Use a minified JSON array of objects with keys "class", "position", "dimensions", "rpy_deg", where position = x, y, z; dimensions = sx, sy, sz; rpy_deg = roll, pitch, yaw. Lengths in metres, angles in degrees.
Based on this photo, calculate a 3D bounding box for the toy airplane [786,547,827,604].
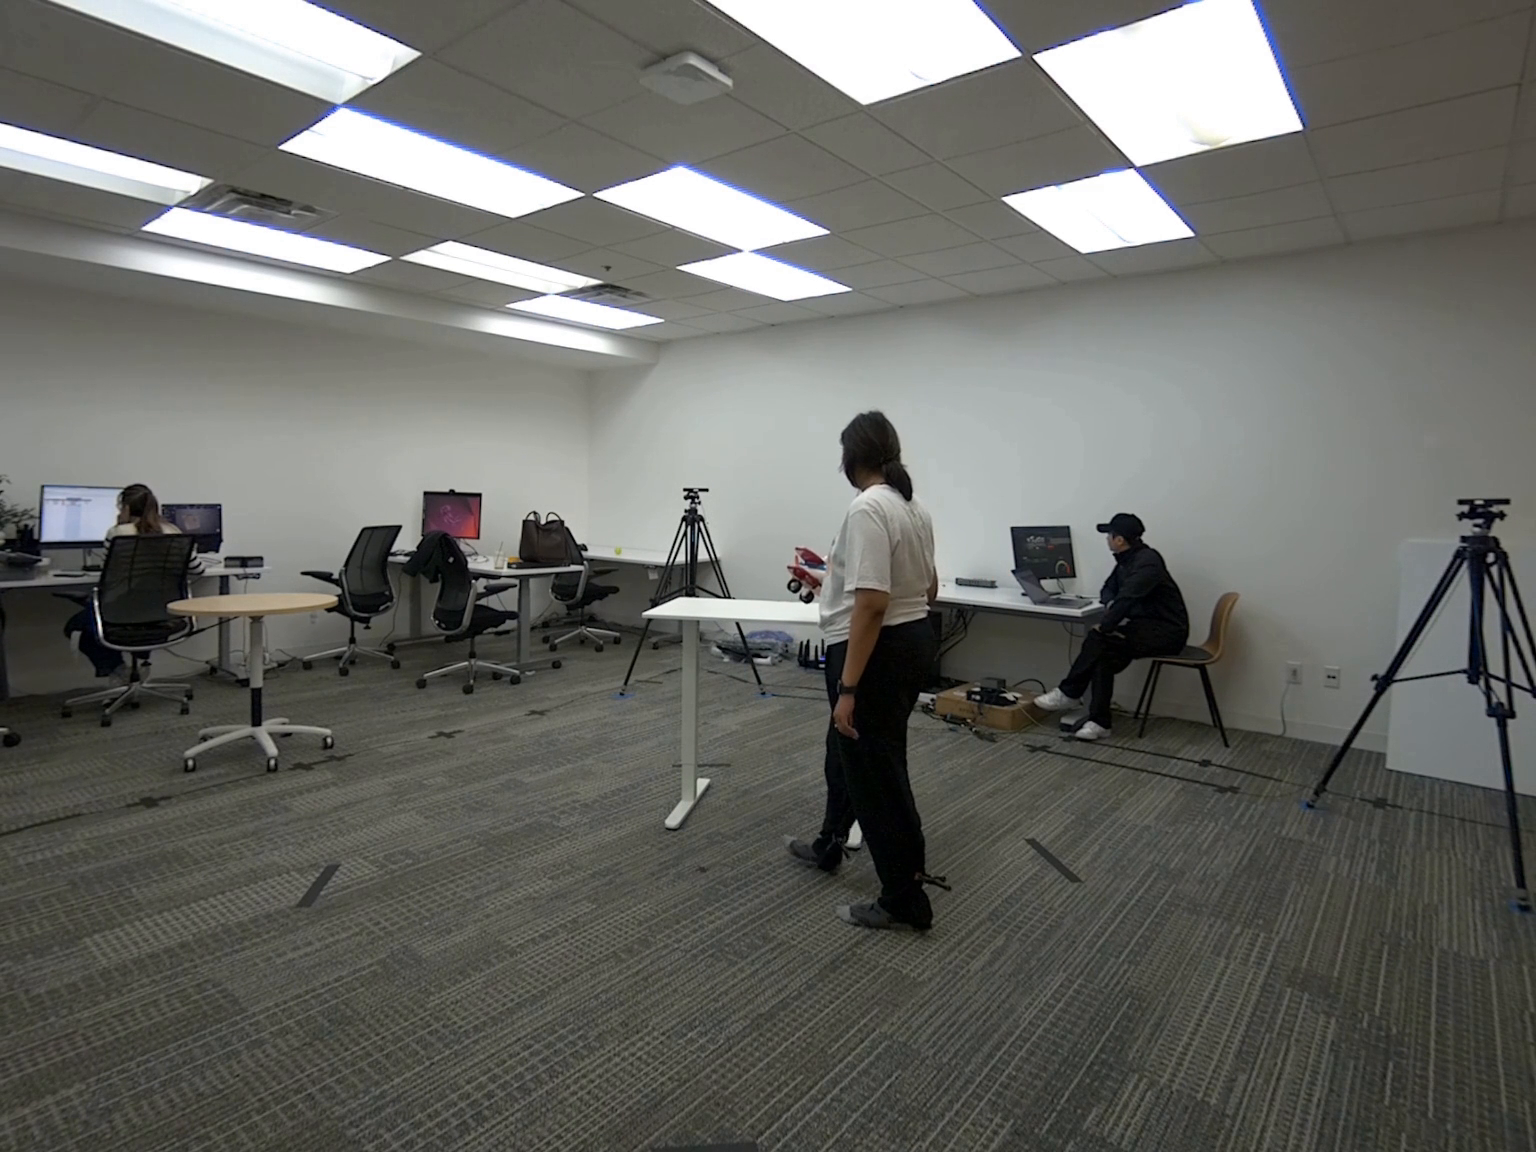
[{"class":"toy airplane","position":[0.194,0.014,3.188],"dimensions":[0.264,0.159,0.243],"rpy_deg":[8,-28,14]}]
